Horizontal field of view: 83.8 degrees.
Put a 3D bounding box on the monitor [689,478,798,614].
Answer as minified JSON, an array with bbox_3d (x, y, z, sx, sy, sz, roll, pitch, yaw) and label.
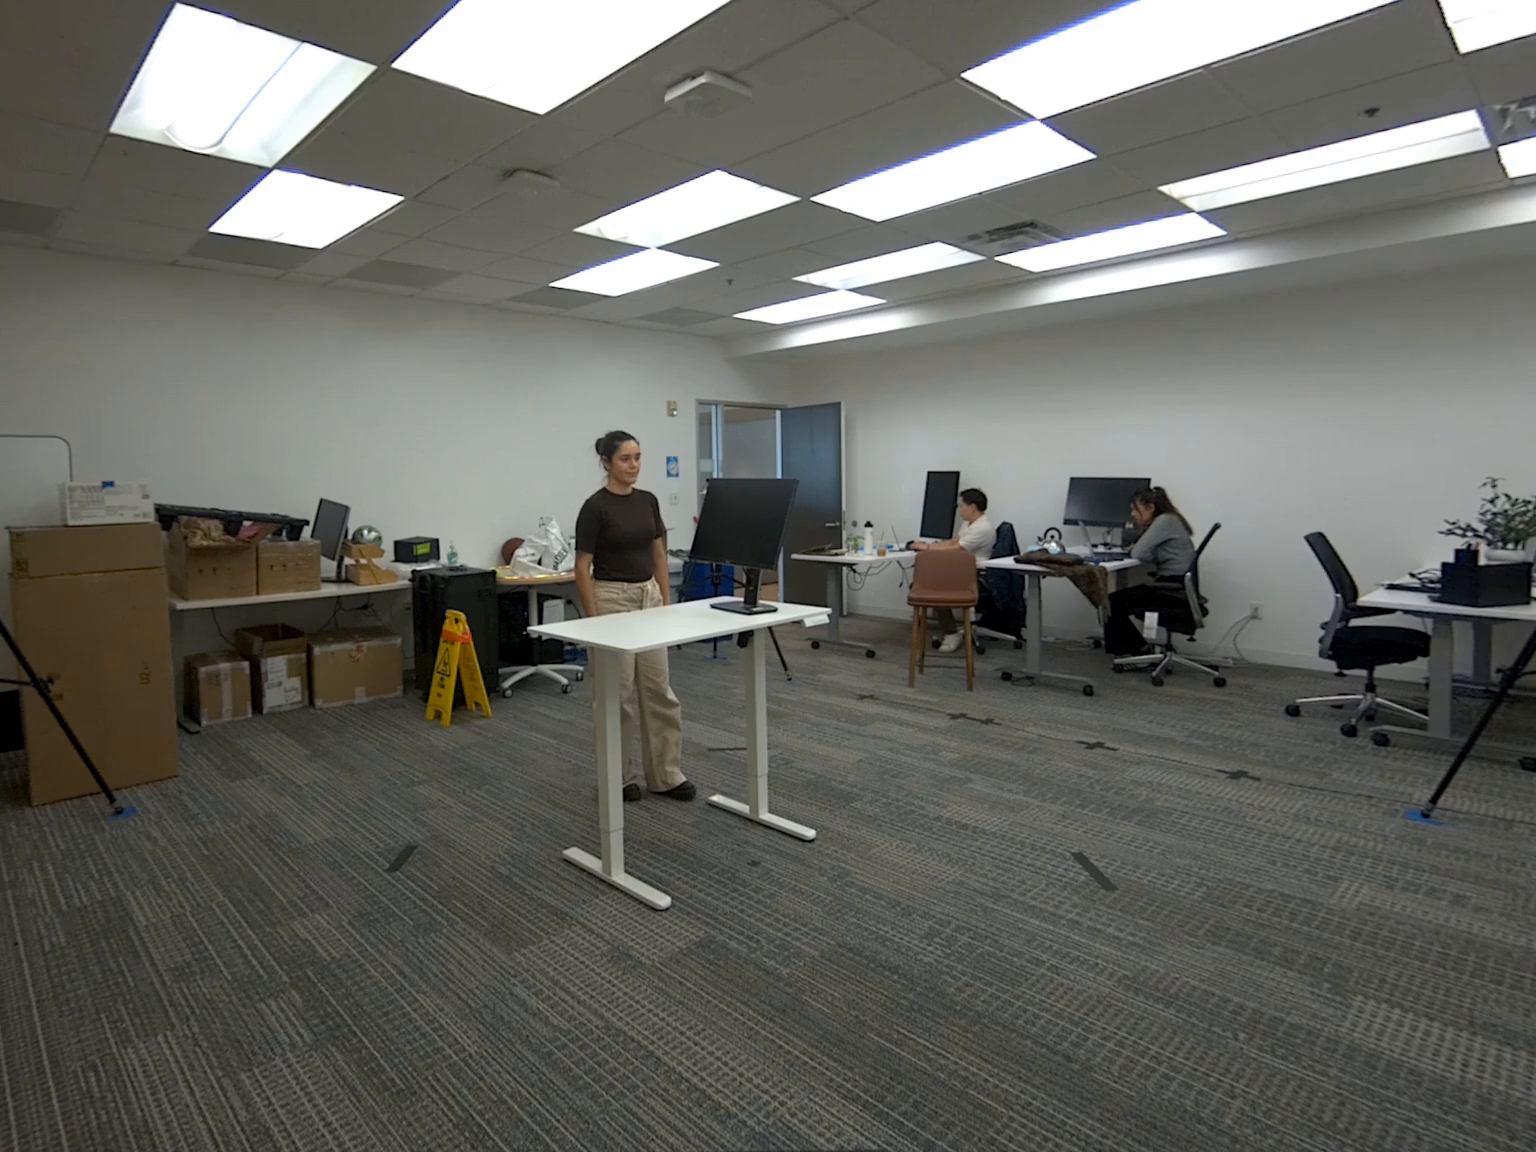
[{"bbox_3d":[-0.085,-0.123,3.361,0.182,0.521,0.556,1,4,-41],"label":"monitor"}]
